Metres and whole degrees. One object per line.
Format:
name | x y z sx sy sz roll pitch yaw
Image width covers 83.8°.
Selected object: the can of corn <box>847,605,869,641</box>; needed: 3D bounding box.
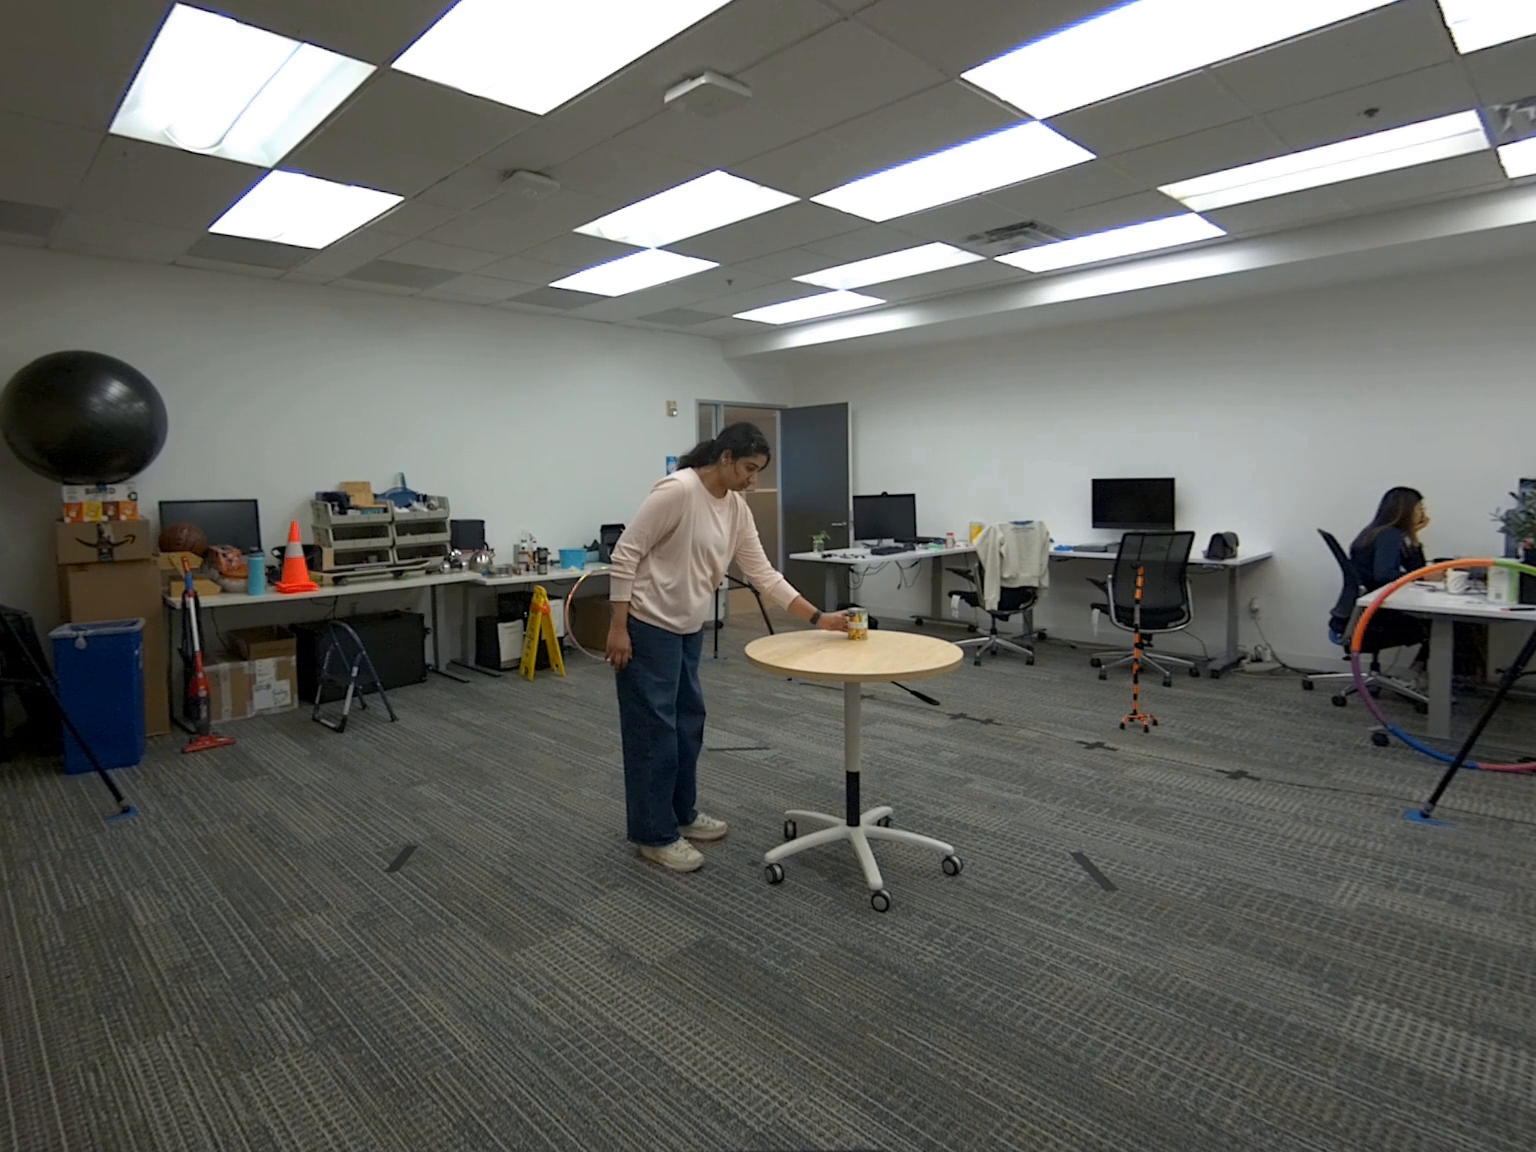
can of corn | 0.334 0.182 3.230 0.074 0.111 0.074 -1 3 -2
